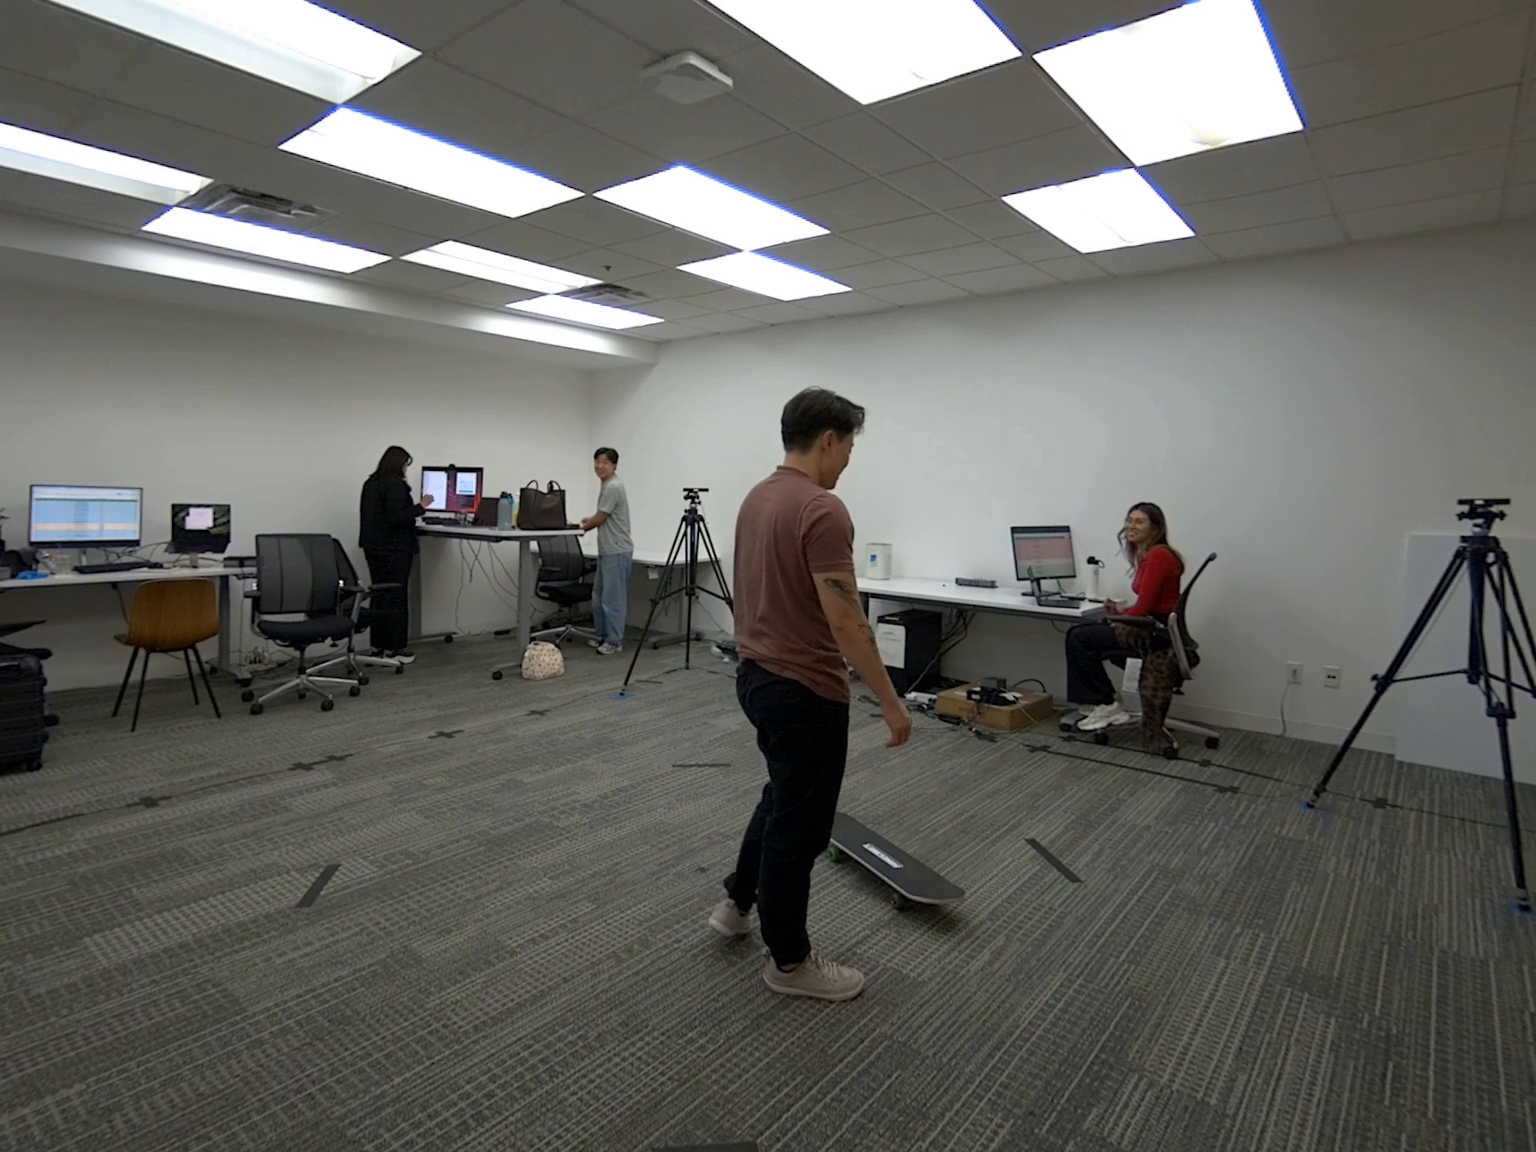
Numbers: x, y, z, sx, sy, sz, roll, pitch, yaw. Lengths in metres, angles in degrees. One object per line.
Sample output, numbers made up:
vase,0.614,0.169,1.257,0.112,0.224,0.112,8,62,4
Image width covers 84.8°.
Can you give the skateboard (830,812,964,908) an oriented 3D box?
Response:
skateboard,0.404,1.032,3.056,0.189,0.110,0.808,-1,6,-26
